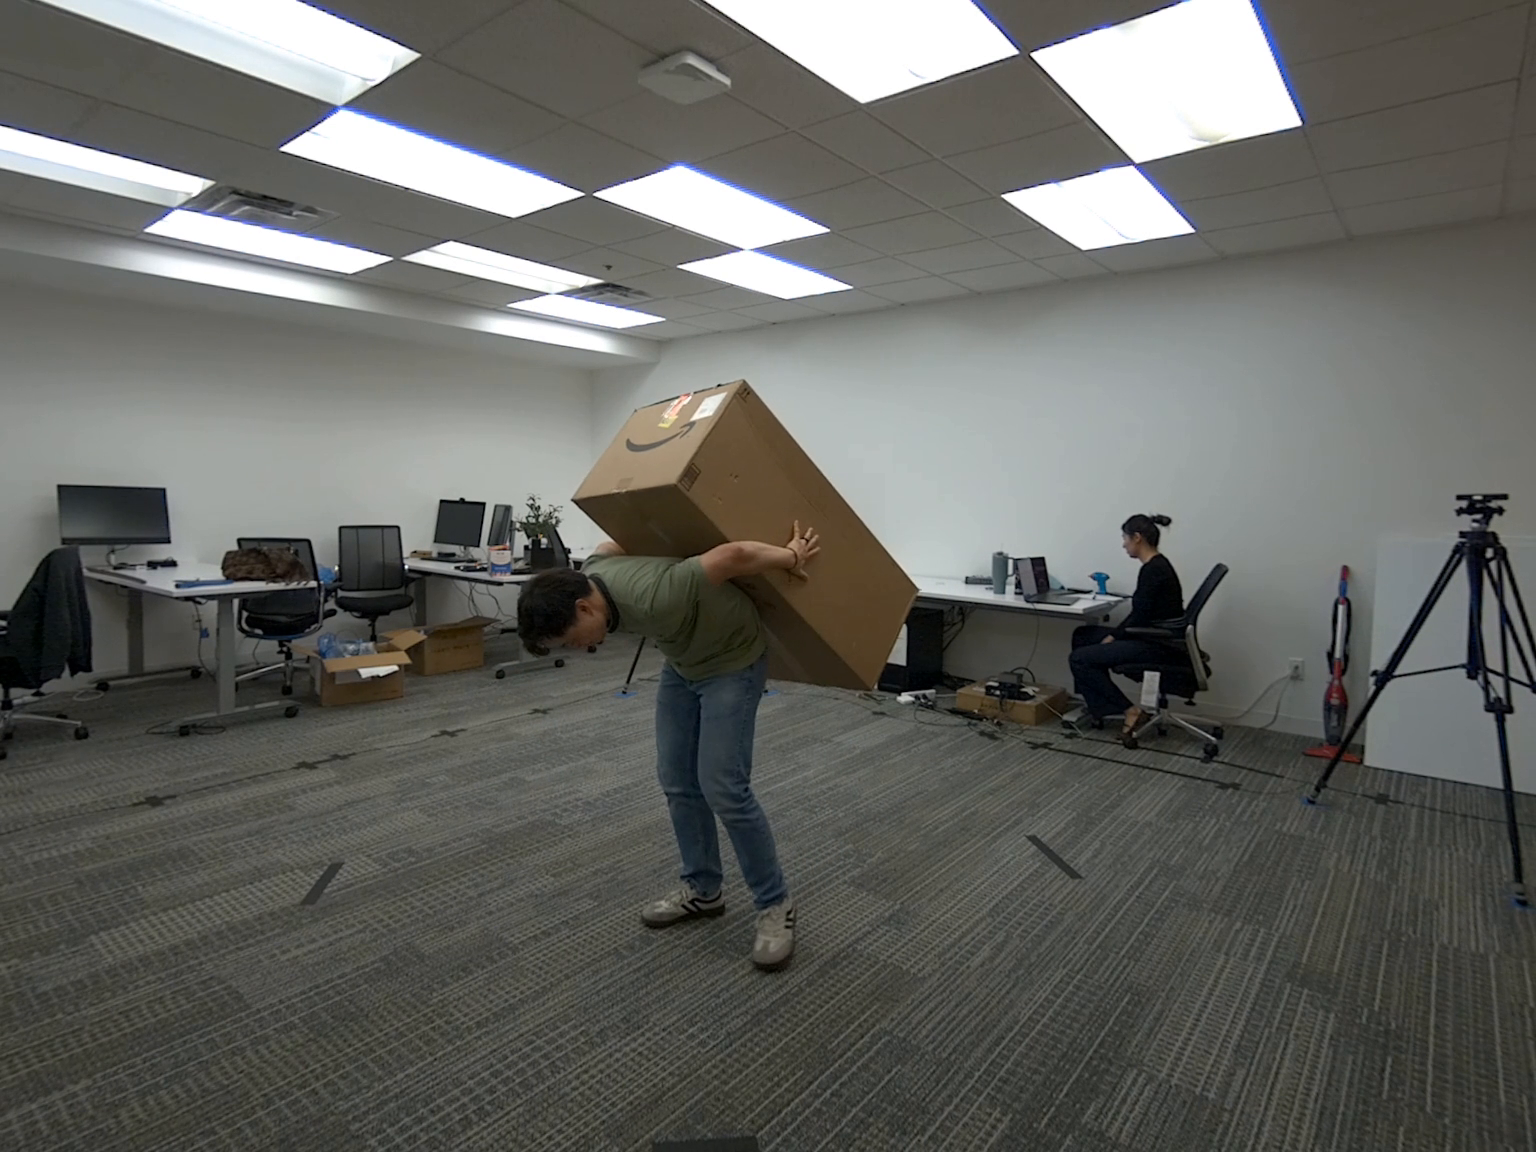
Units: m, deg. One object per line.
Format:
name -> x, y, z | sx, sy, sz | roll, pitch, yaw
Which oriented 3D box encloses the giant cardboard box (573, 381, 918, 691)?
giant cardboard box -> -0.066, -0.098, 2.860 | 0.595, 0.429, 0.990 | -2, -41, 49
